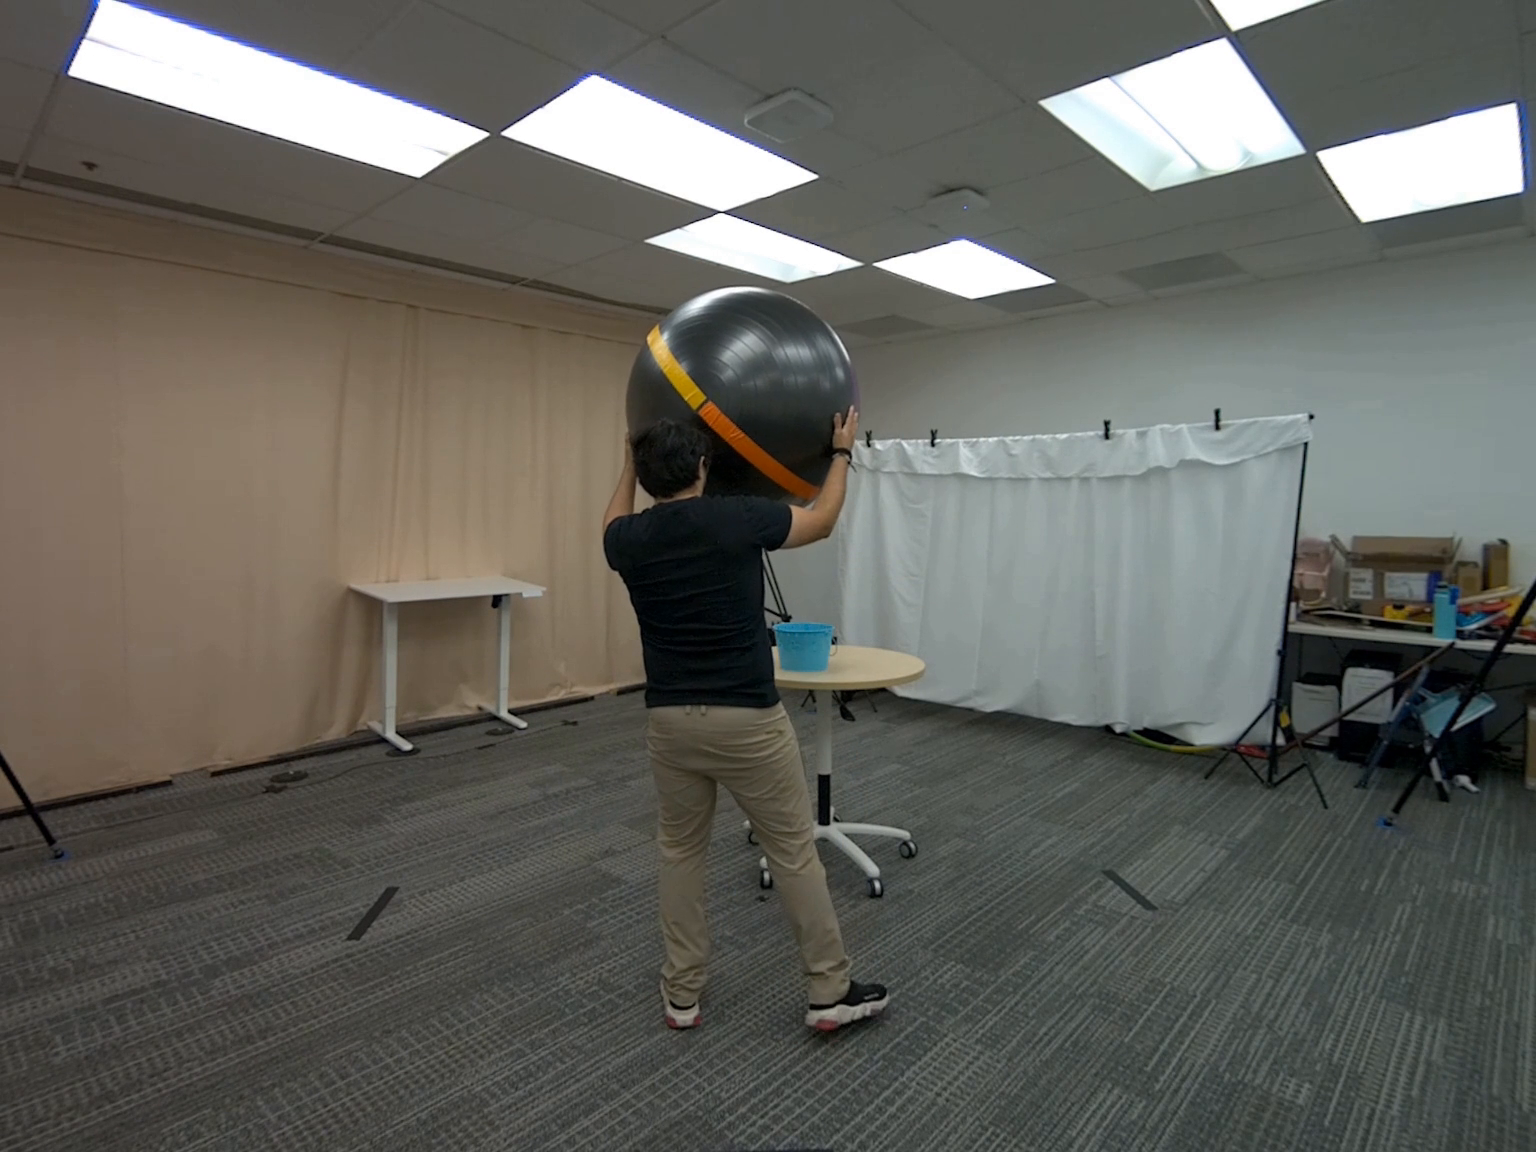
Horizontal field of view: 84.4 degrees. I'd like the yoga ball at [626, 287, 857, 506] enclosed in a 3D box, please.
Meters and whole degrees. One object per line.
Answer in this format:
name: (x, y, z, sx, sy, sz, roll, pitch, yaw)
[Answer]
yoga ball: (-0.072, -0.540, 2.737, 0.757, 0.756, 0.760, 0, 4, -2)
